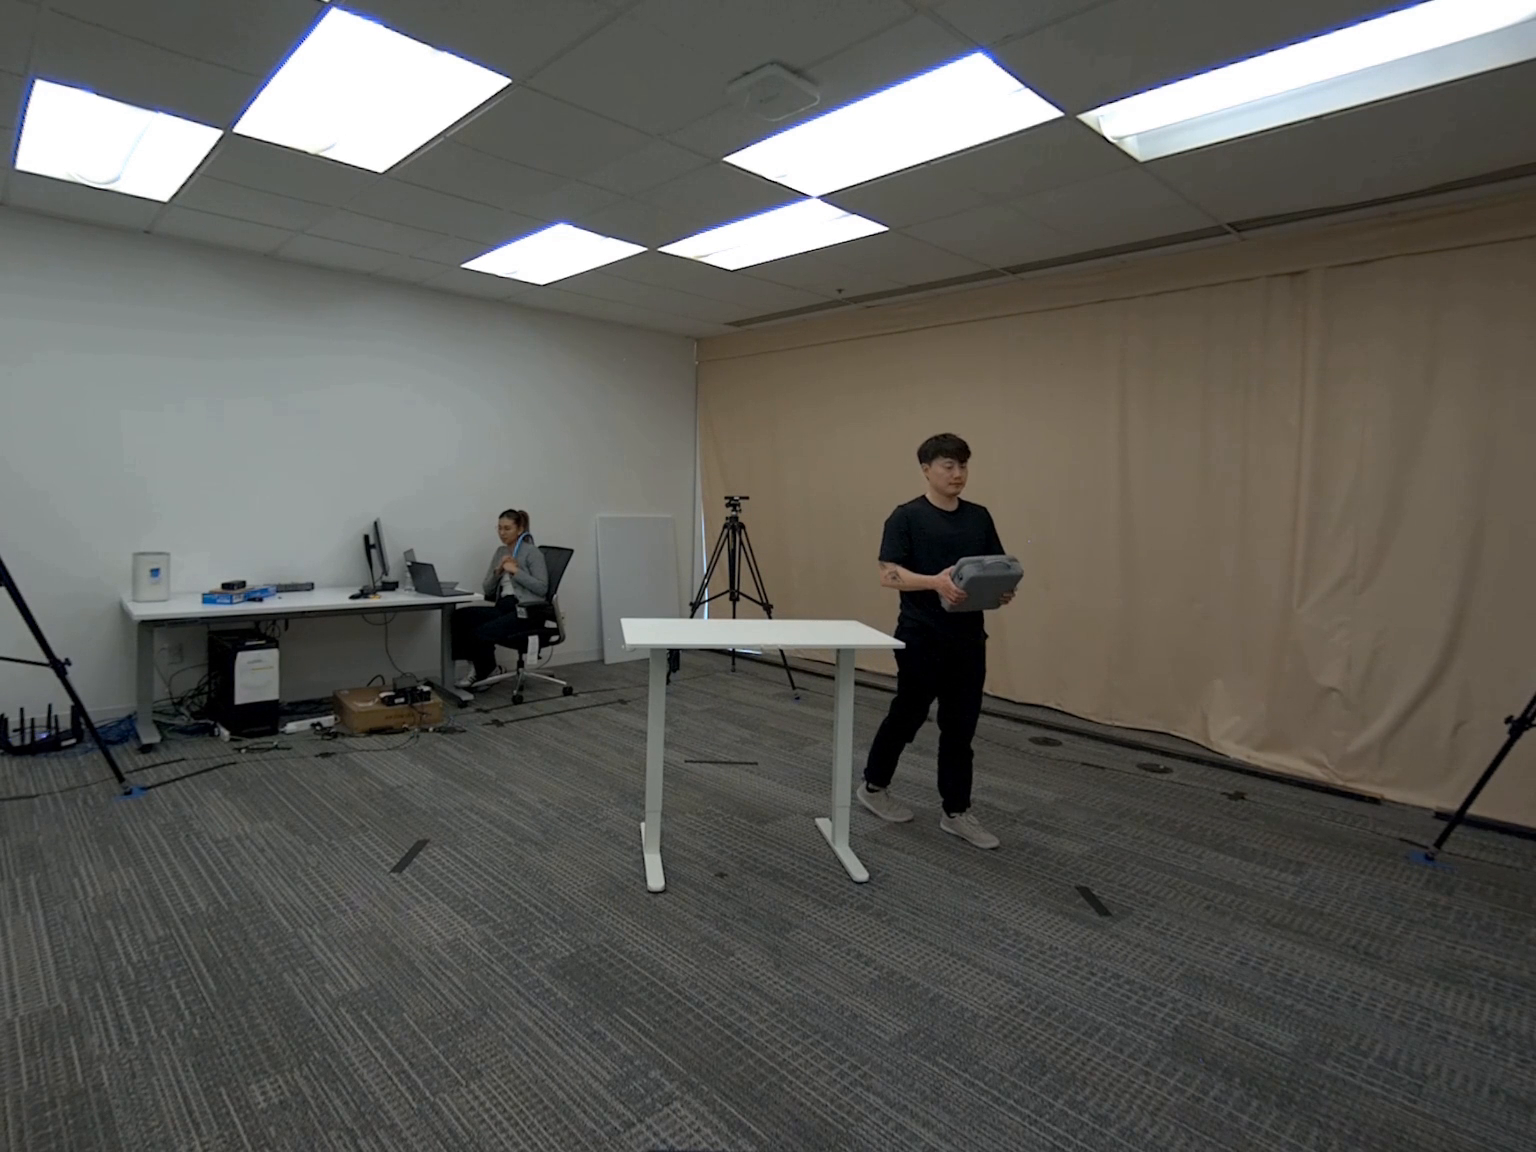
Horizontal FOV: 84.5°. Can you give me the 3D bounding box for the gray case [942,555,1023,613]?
[{"bbox_3d":[0.826,0.029,3.266,0.254,0.107,0.257,-3,-36,-17],"label":"gray case"}]
